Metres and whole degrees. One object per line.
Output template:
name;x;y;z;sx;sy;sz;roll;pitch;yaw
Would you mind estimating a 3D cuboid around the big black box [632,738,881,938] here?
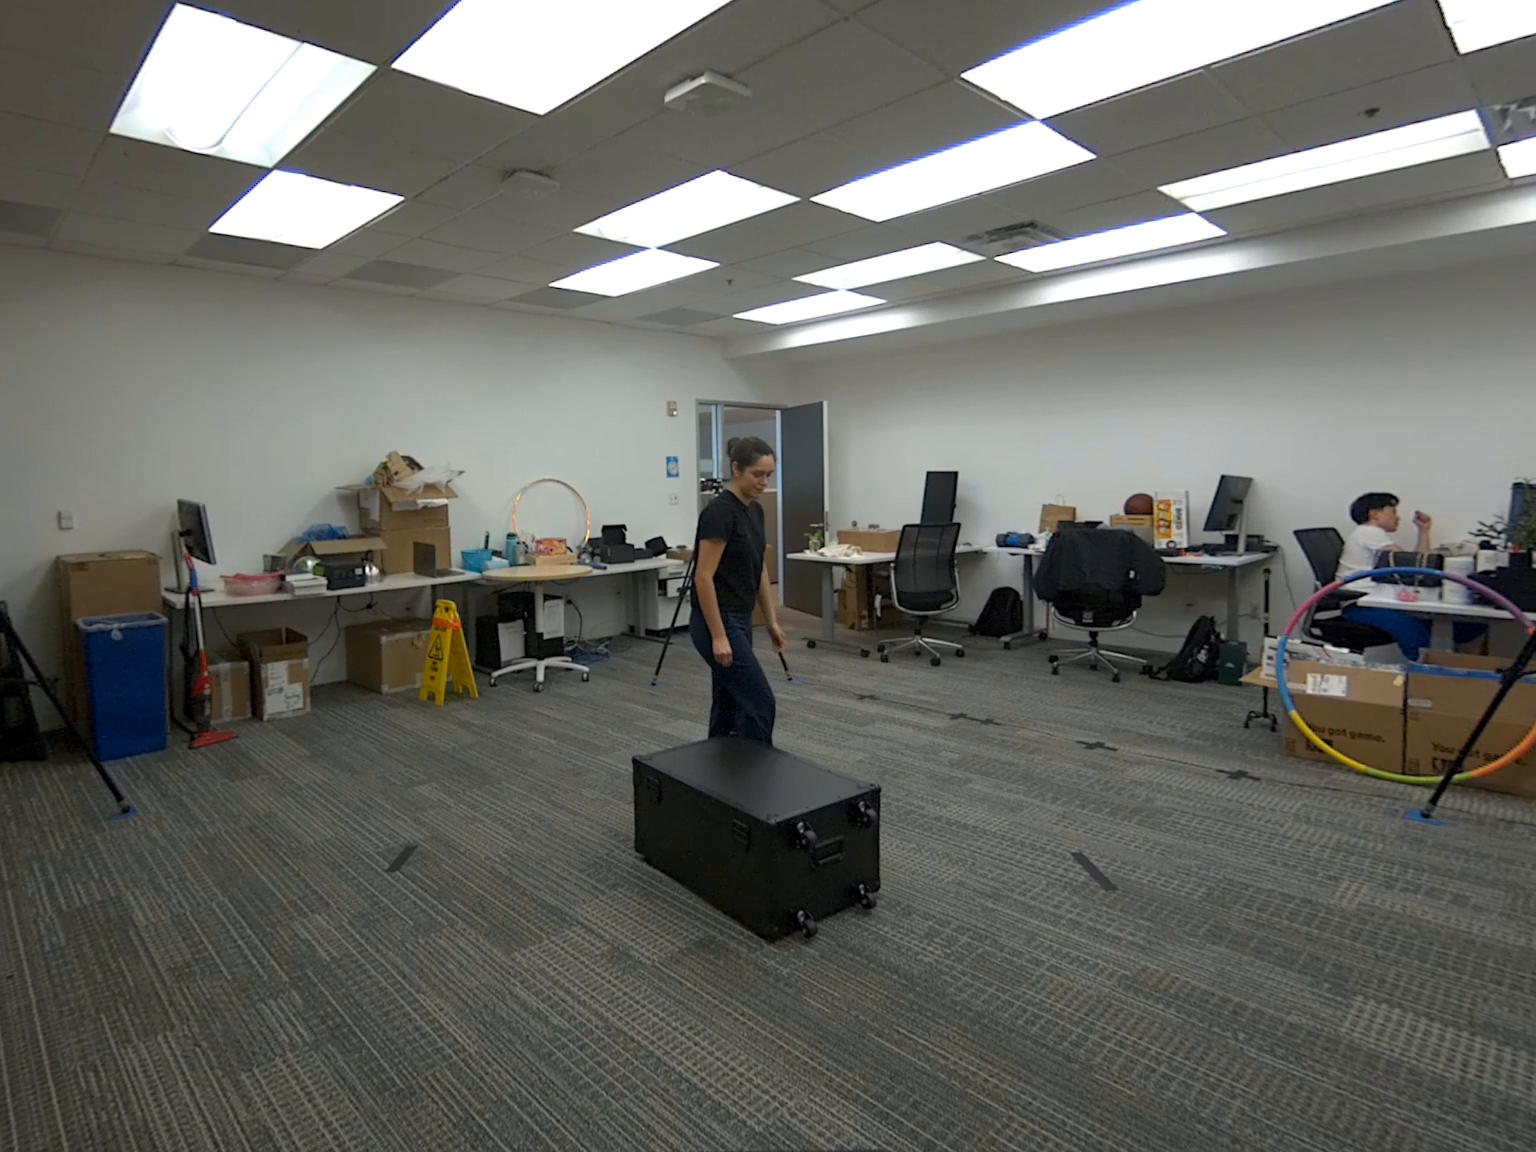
big black box;-0.079;0.862;3.029;0.507;0.394;0.888;-4;7;-39
